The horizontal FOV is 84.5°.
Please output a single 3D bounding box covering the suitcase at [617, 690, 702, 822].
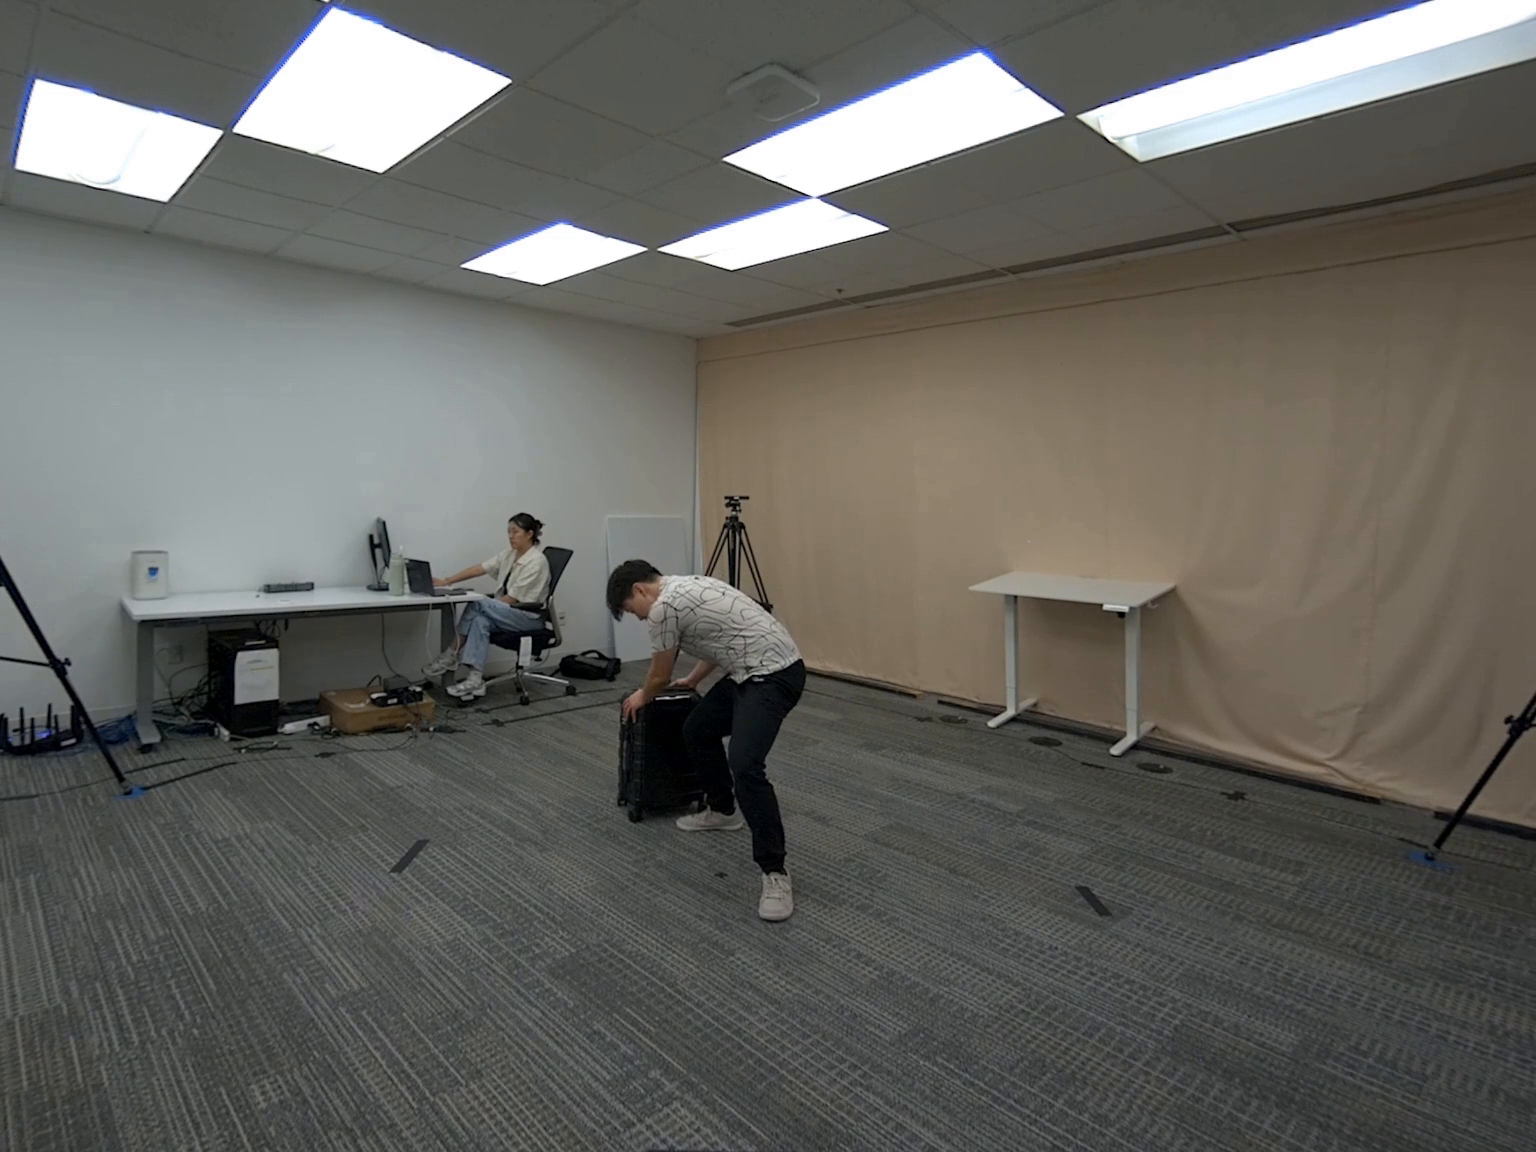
[{"bbox_3d":[-0.483,0.763,3.734,0.368,0.548,0.254,-1,4,-27],"label":"suitcase"}]
